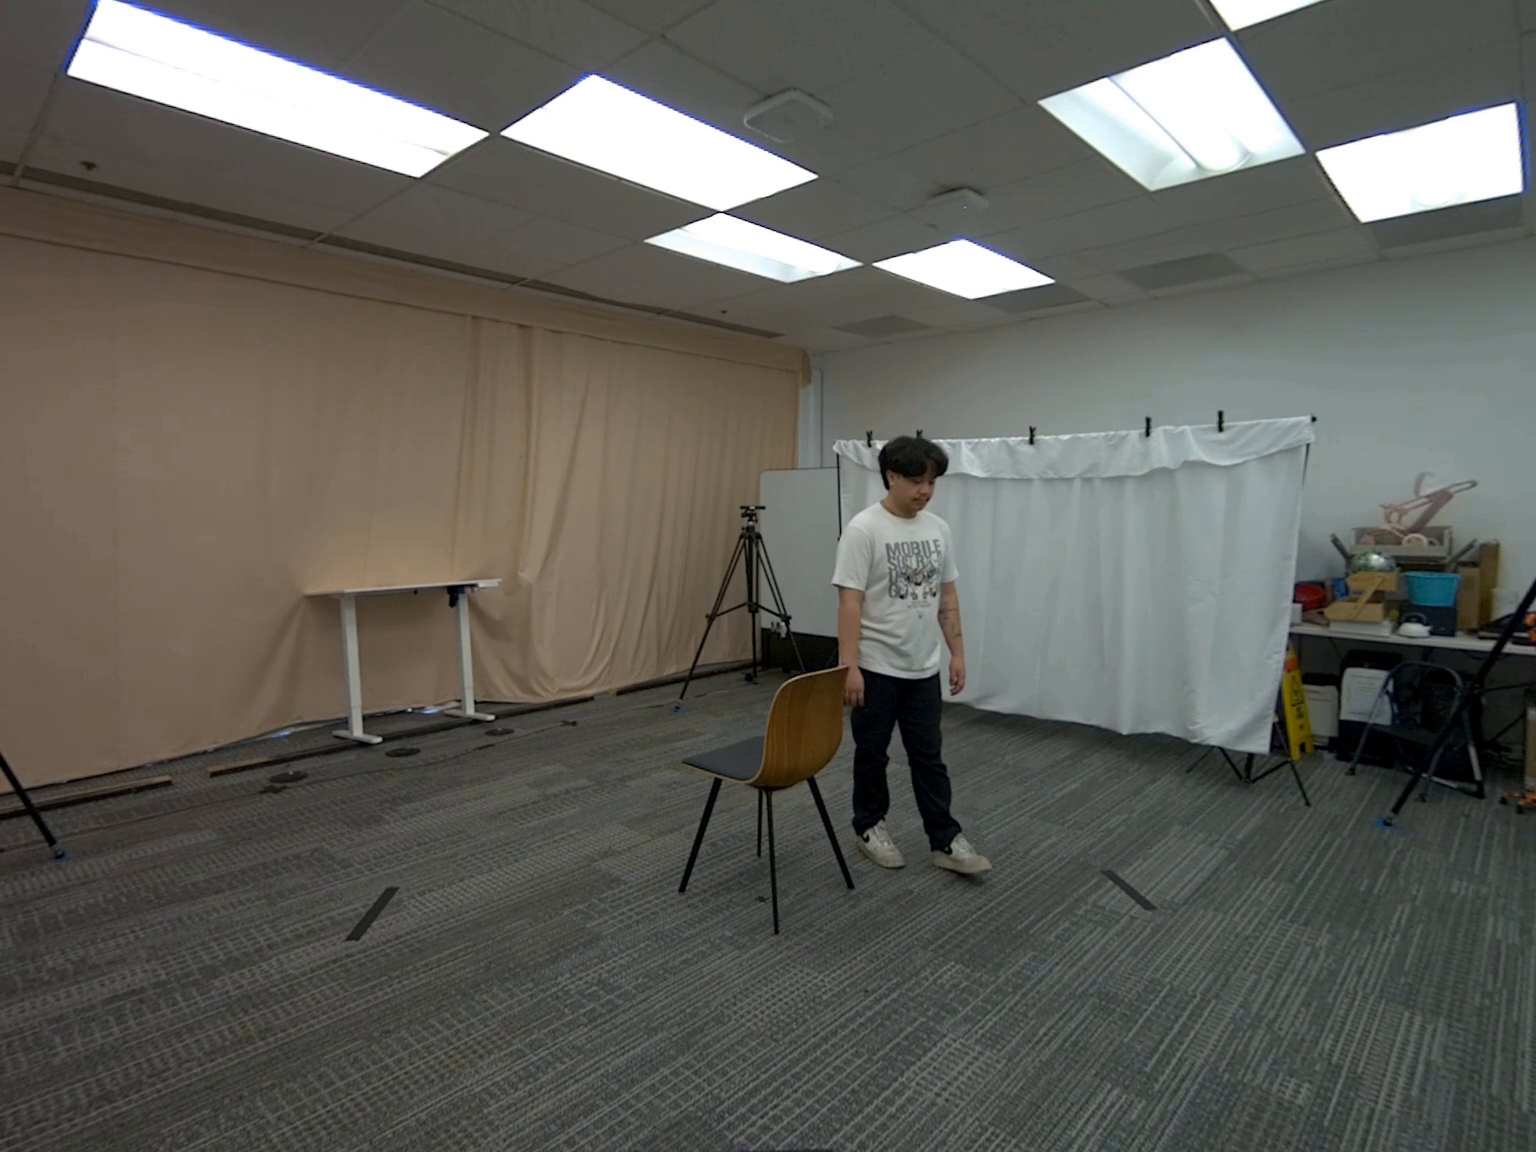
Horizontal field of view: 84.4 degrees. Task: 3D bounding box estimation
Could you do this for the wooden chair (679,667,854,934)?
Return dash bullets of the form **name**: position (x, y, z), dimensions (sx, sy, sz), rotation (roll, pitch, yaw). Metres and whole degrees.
- **wooden chair**: position (-0.013, 0.712, 3.020), dimensions (0.541, 0.874, 0.463), rotation (8, 8, 40)
